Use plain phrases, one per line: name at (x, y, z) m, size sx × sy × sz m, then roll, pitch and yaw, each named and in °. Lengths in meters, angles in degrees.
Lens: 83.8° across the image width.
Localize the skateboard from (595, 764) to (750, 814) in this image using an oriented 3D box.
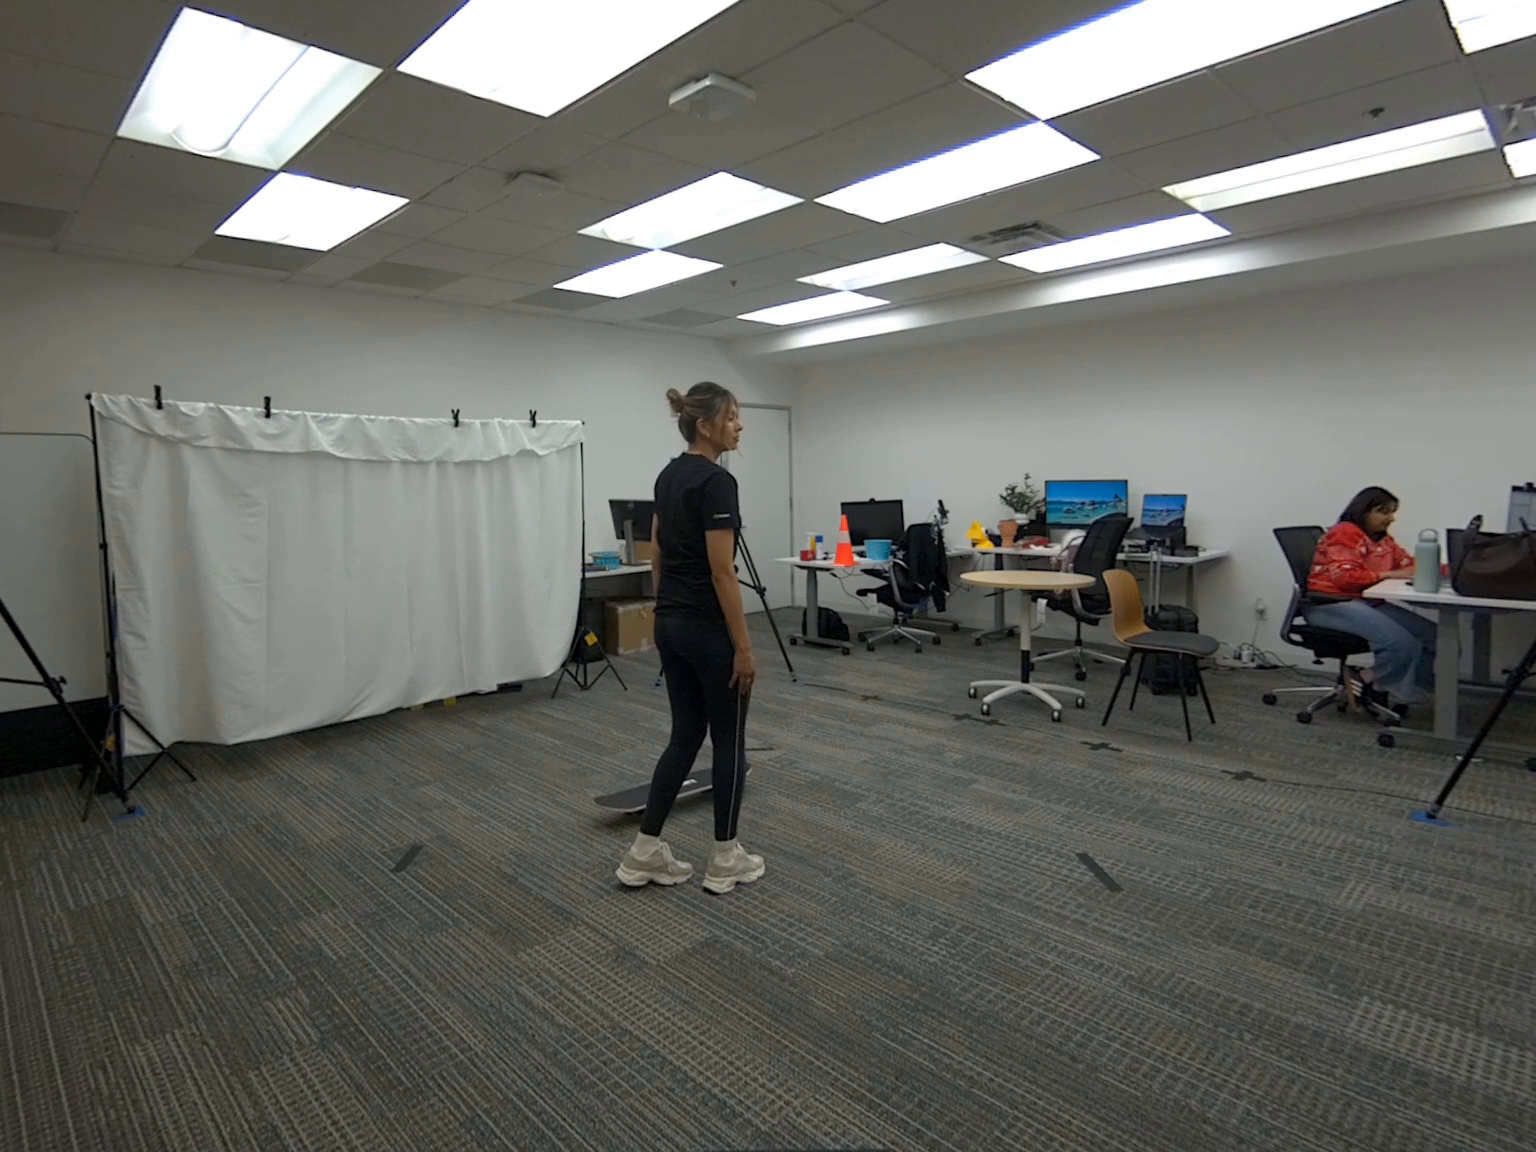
skateboard at (-0.395, 0.935, 3.678) m, size 0.765 × 0.110 × 0.199 m, roll -6°, pitch 7°, yaw -39°
